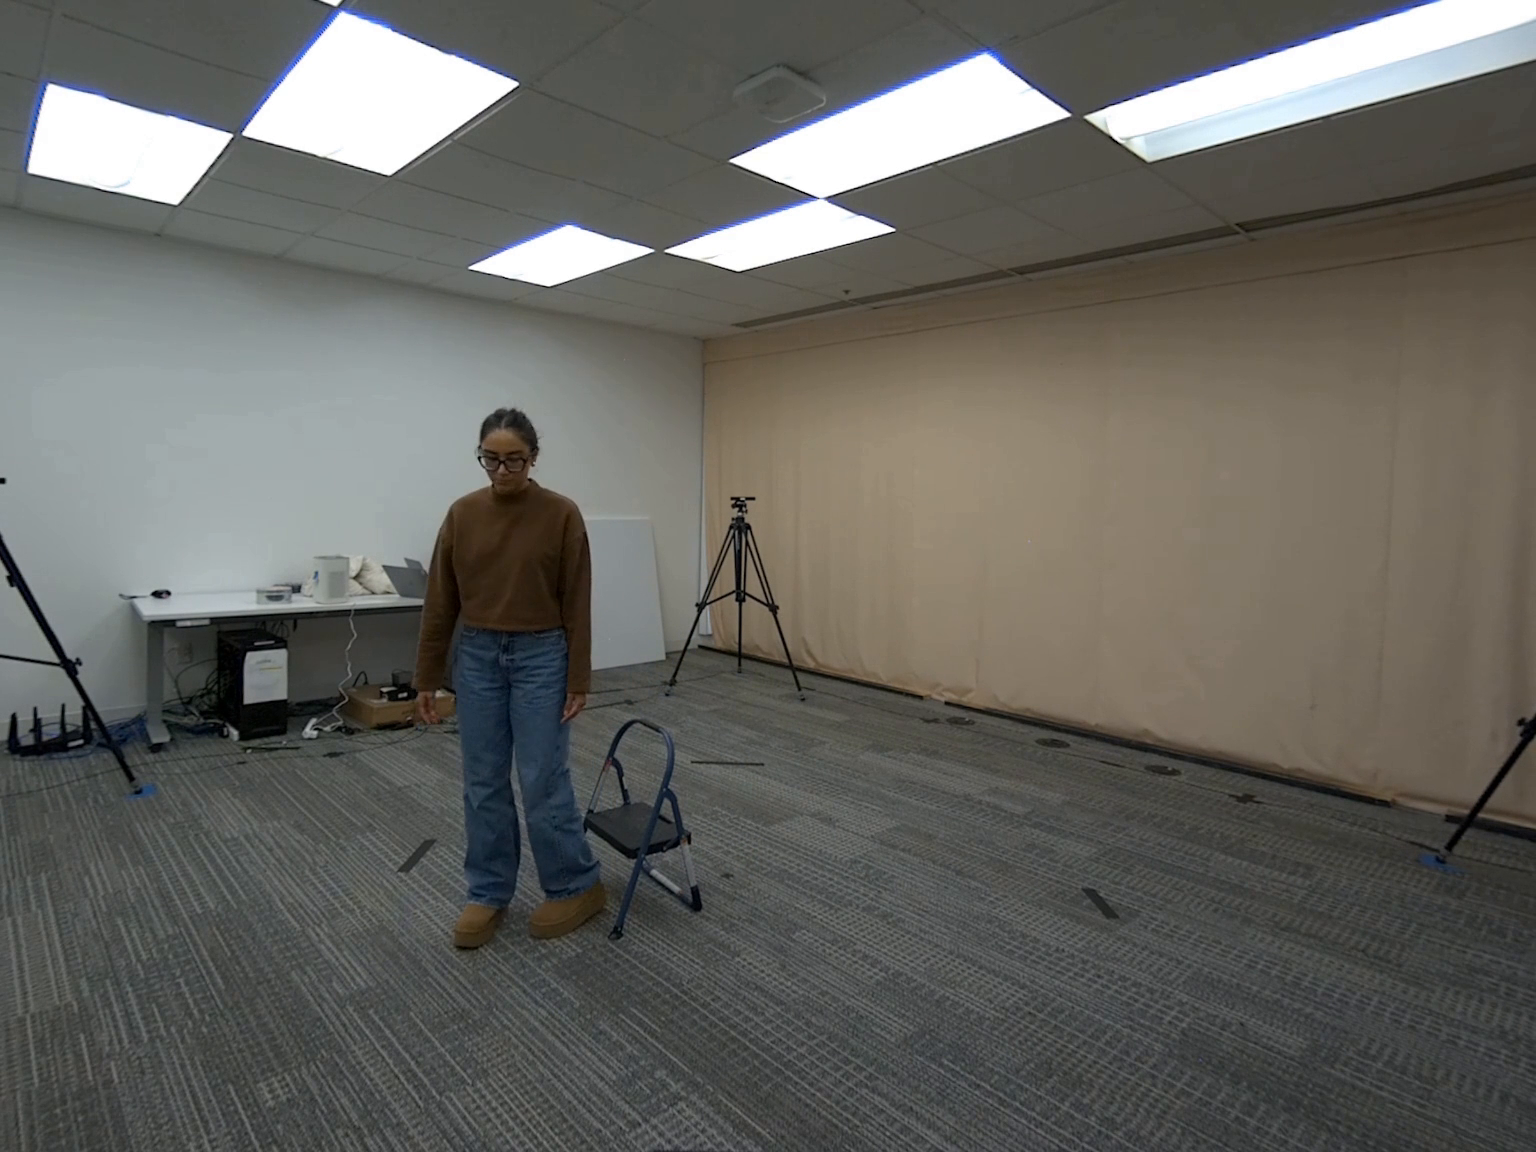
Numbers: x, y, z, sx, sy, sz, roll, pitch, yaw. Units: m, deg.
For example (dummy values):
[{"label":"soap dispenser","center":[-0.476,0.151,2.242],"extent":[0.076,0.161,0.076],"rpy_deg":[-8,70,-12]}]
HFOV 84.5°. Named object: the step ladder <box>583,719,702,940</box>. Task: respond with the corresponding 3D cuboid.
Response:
[{"label":"step ladder","center":[-0.477,0.816,2.887],"extent":[0.341,0.605,0.441],"rpy_deg":[-1,4,-37]}]
